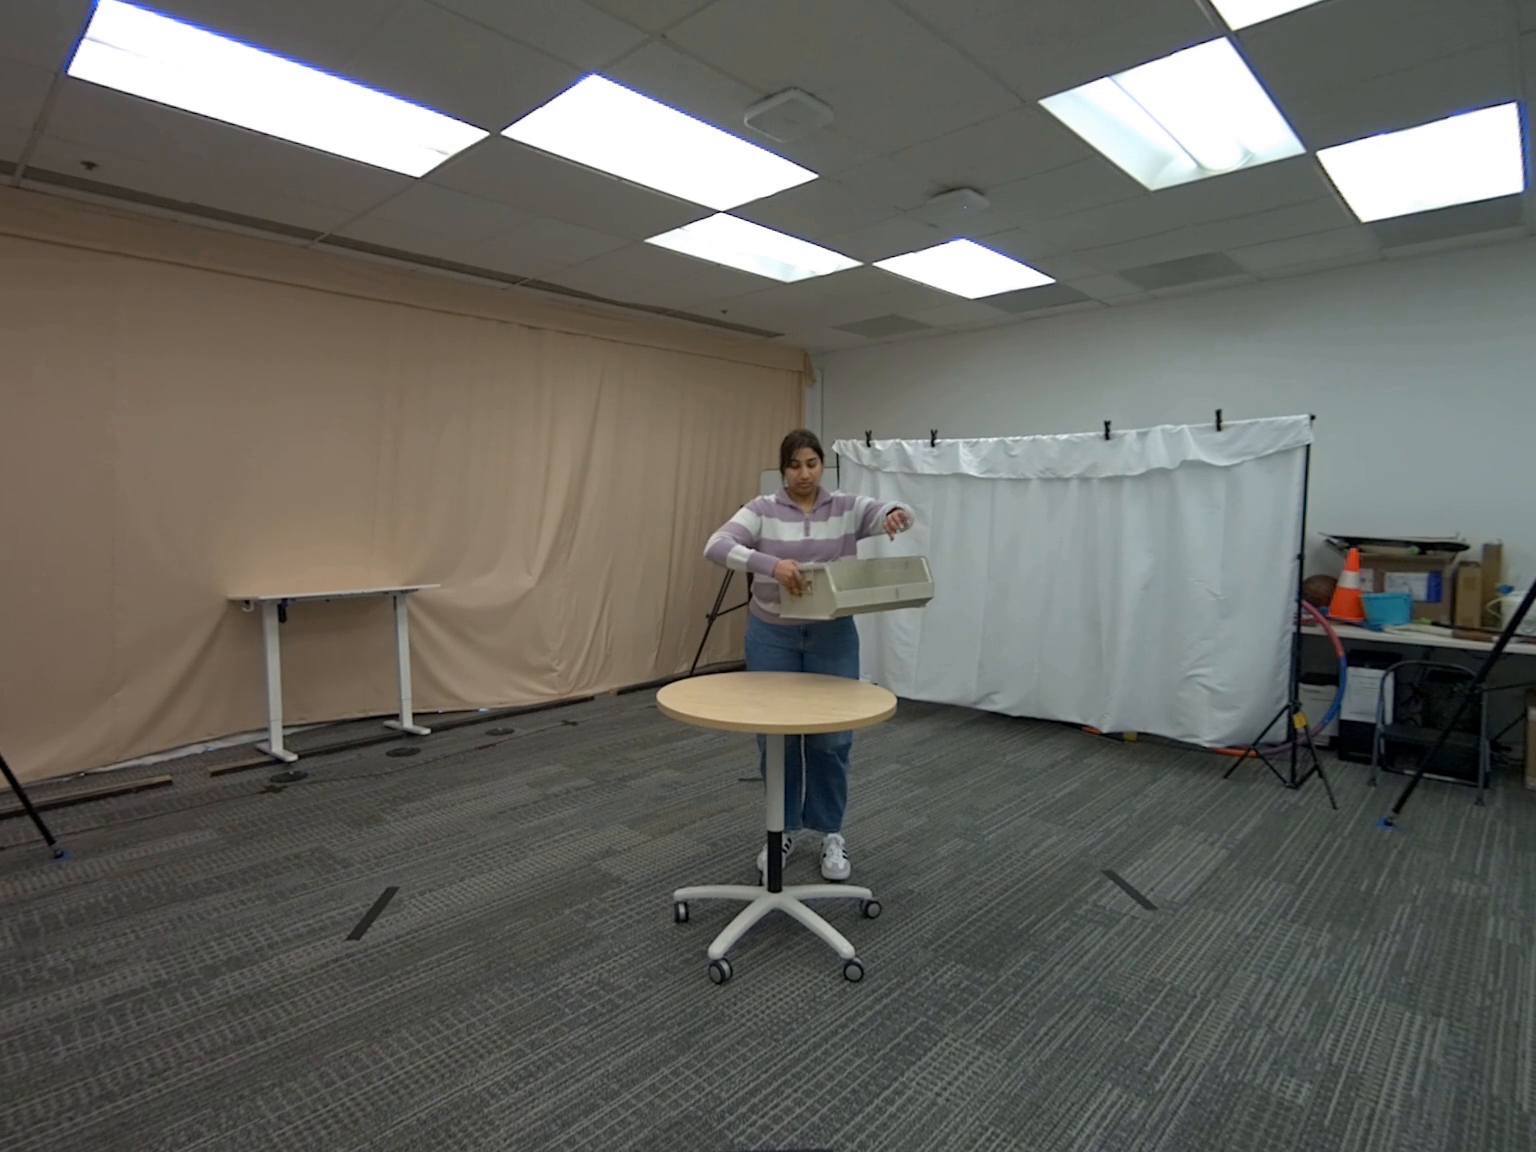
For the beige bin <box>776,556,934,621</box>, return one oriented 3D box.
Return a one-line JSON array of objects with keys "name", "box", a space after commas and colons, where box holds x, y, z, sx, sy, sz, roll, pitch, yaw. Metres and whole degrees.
[{"name": "beige bin", "box": [0.299, 0.042, 2.934, 0.412, 0.189, 0.387, -5, 1, -28]}]
